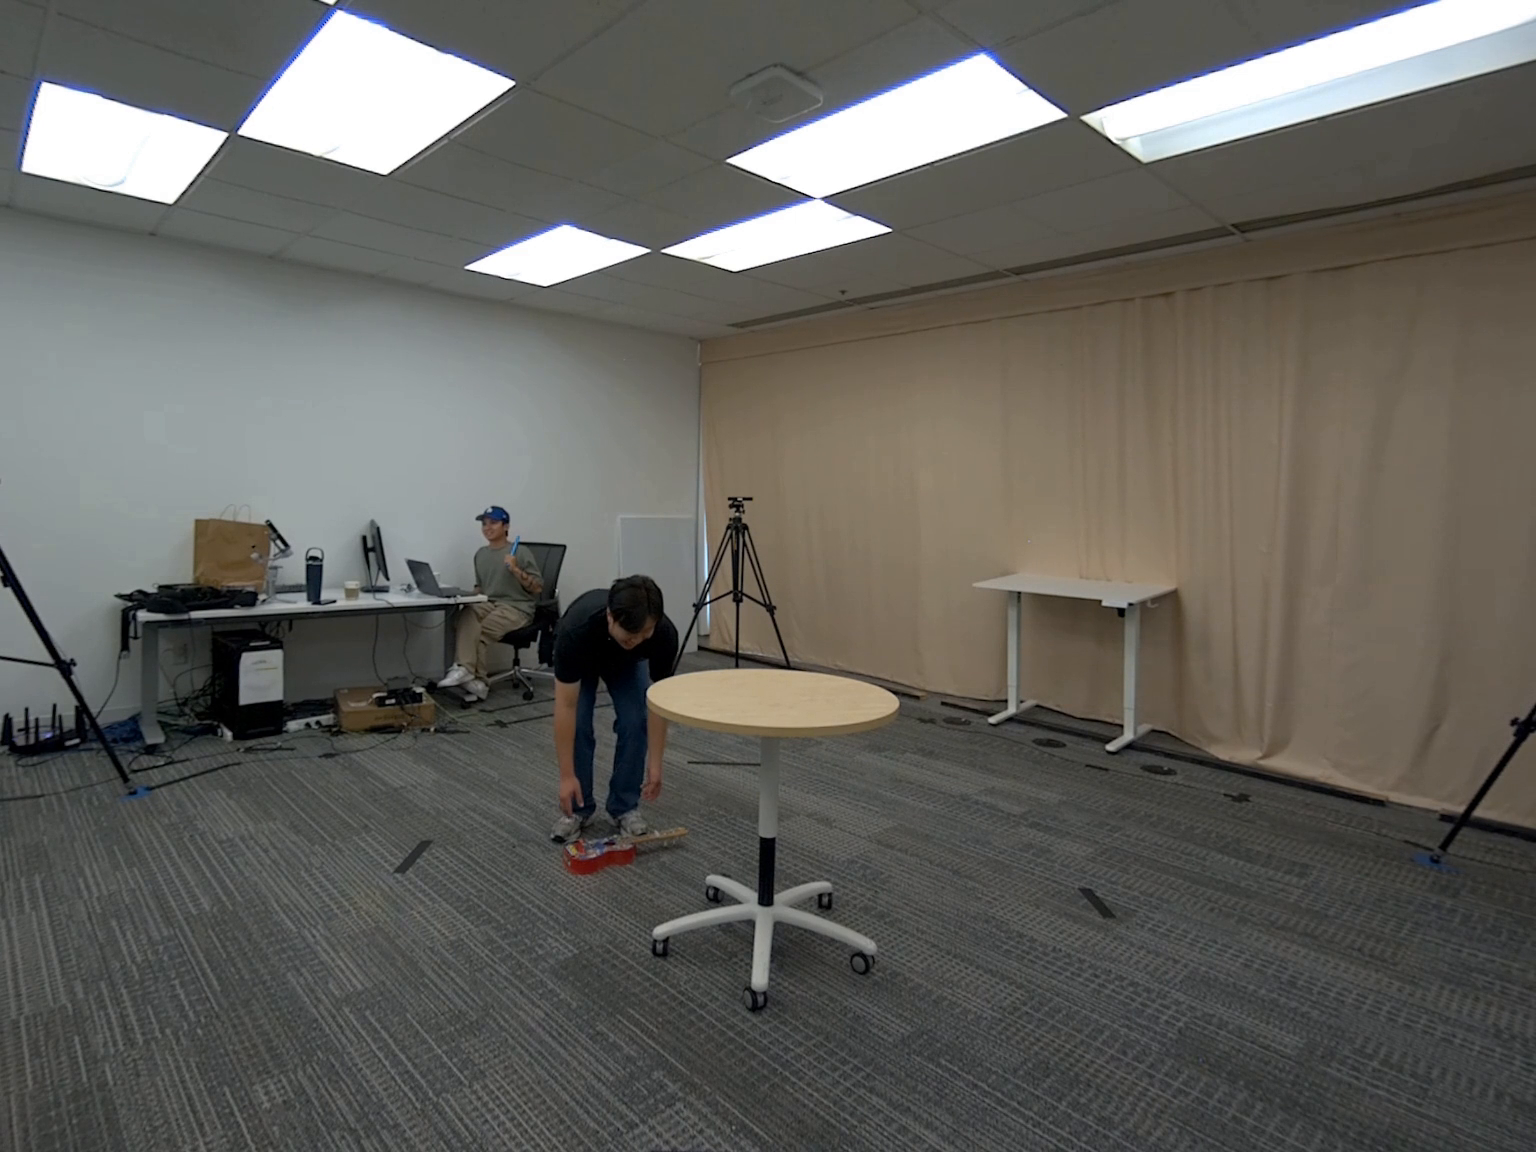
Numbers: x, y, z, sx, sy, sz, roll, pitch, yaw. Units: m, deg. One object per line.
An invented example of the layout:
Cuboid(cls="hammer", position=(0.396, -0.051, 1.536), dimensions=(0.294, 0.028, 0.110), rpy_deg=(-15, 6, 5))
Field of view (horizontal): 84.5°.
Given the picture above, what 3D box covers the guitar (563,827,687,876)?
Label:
Cuboid(cls="guitar", position=(-0.542, 1.052, 3.234), dimensions=(0.491, 0.070, 0.196), rpy_deg=(0, 5, -18))
